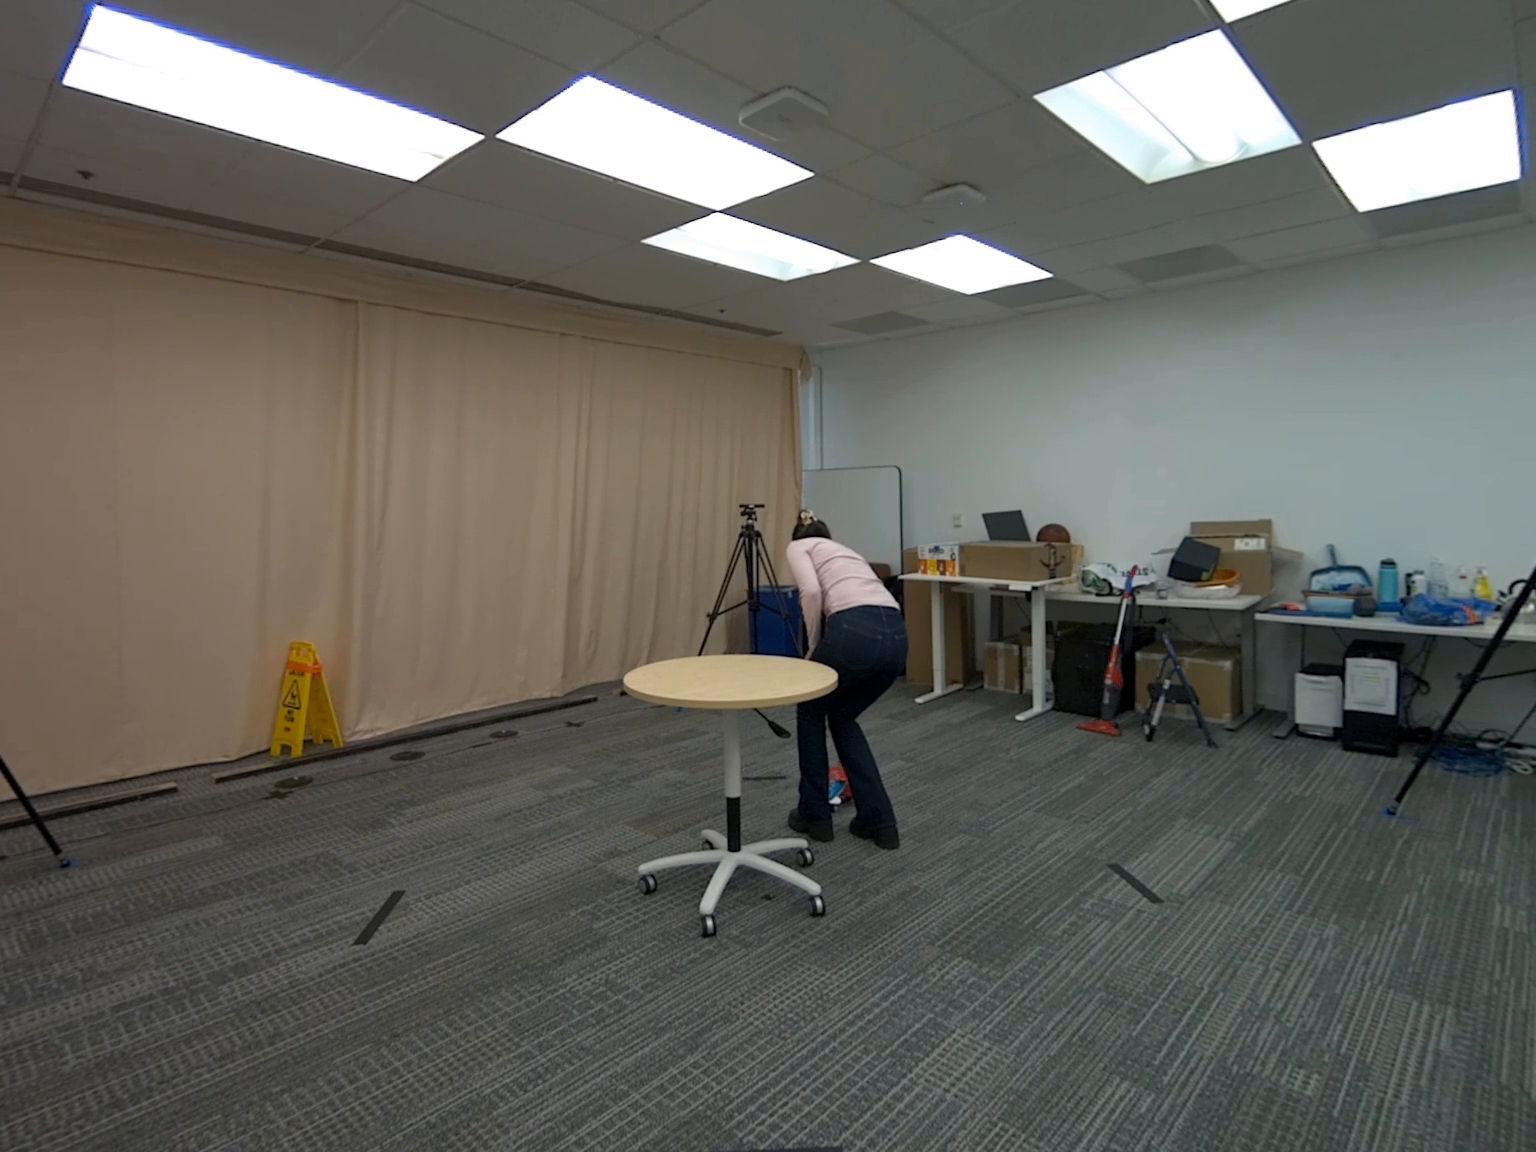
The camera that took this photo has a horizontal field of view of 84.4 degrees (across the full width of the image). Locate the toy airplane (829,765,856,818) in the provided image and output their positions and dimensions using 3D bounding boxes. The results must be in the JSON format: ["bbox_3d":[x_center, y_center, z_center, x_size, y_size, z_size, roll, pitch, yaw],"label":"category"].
[{"bbox_3d":[0.329,0.982,3.881,0.250,0.156,0.261,-1,4,-5],"label":"toy airplane"}]
